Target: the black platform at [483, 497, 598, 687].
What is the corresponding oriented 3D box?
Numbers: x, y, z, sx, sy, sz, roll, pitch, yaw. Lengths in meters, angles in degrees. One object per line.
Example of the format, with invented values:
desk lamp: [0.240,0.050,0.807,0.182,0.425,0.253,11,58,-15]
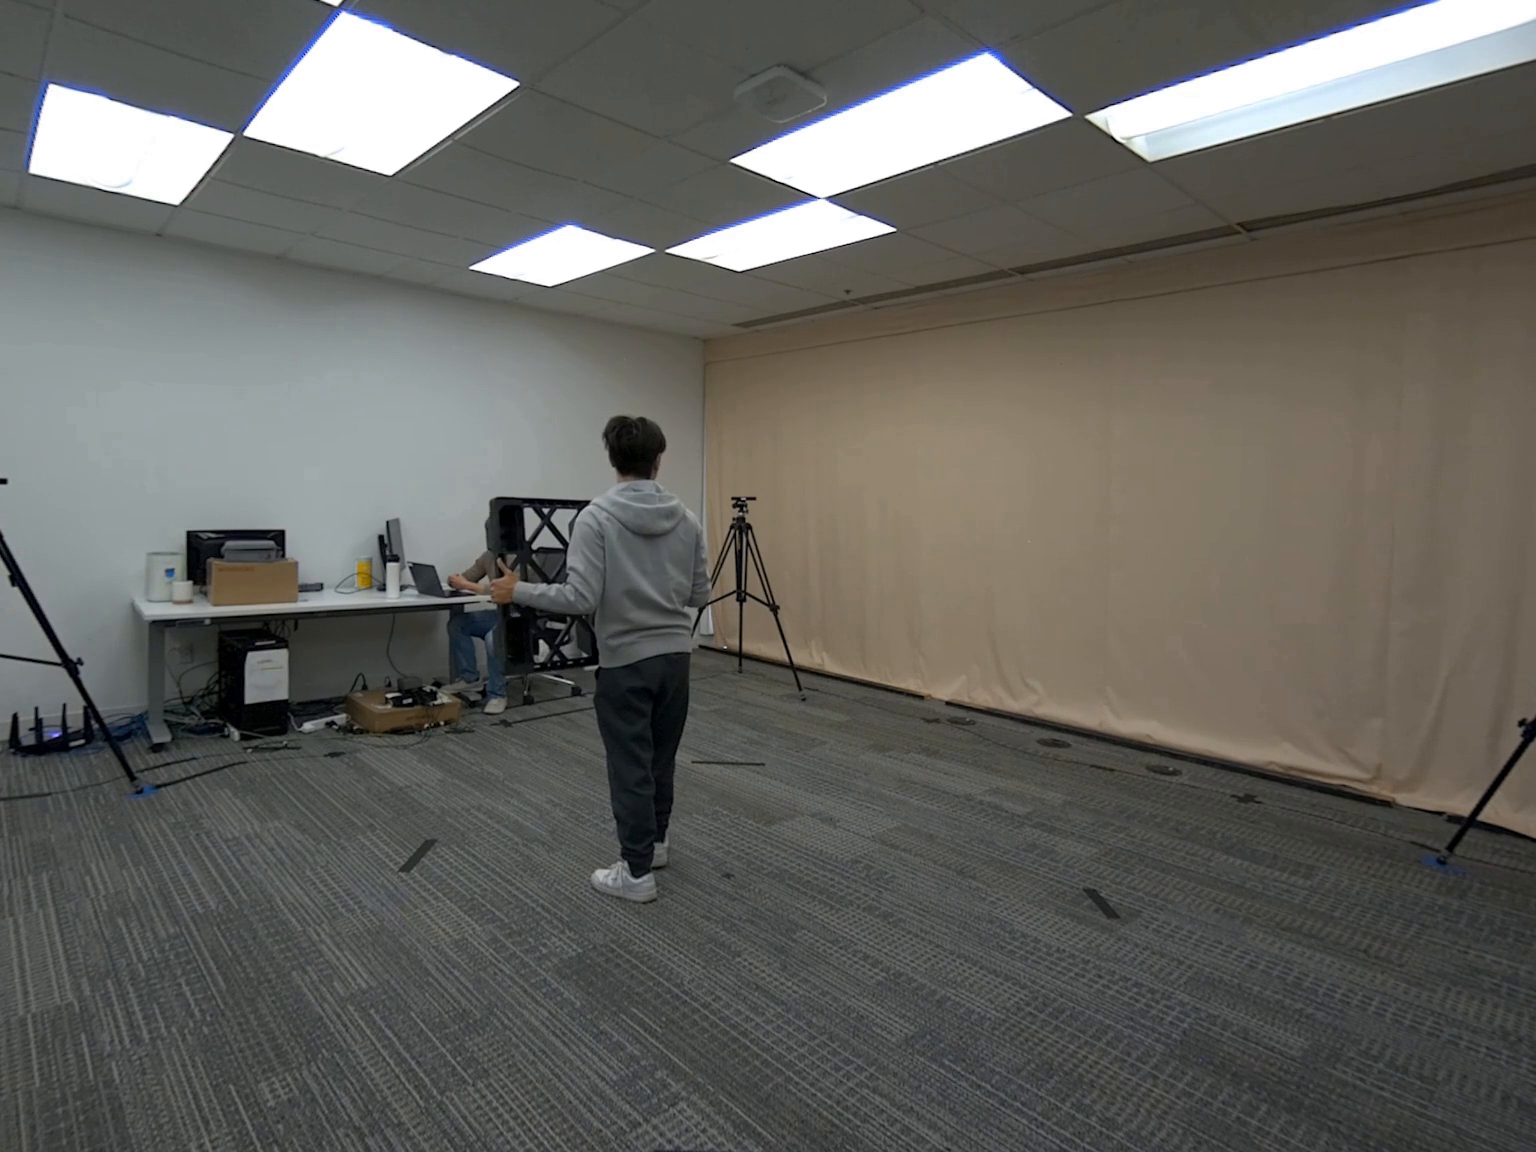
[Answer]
black platform: [-0.652,0.027,3.103,0.787,0.607,0.146,-1,-5,-45]
